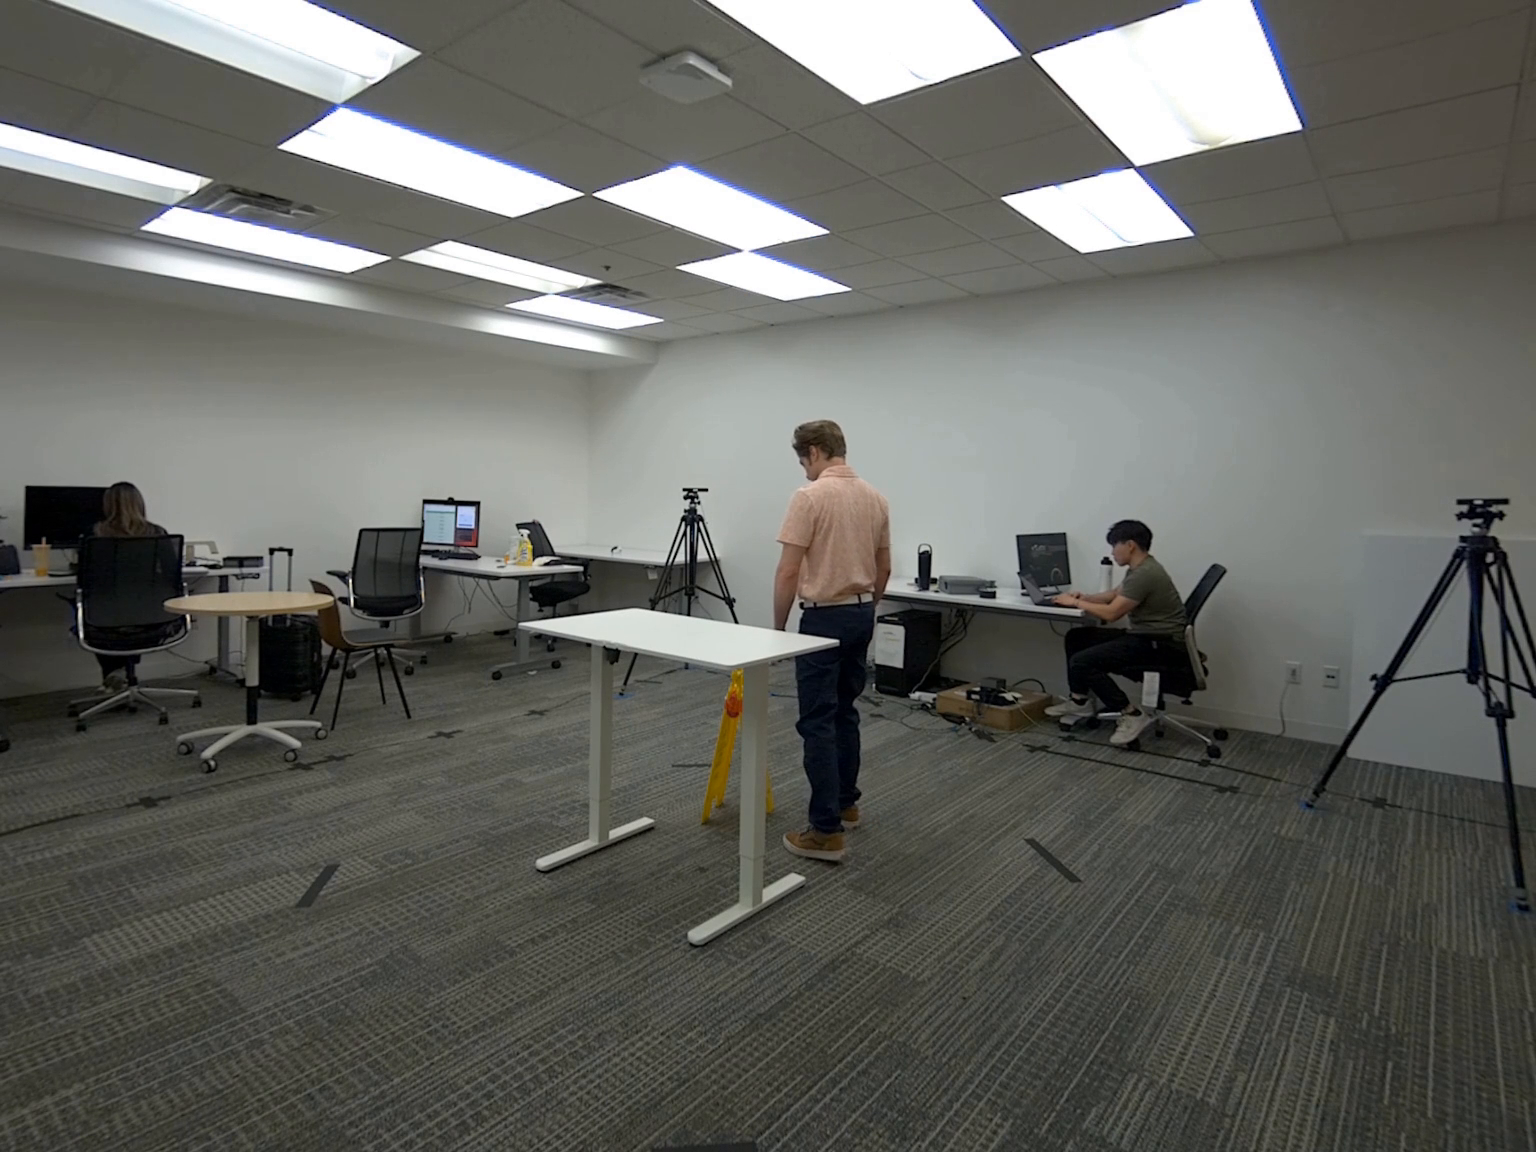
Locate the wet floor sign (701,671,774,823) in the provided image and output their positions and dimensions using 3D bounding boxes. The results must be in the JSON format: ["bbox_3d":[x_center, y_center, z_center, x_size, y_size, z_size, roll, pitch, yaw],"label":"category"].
[{"bbox_3d":[-0.127,0.700,3.615,0.294,0.644,0.279,1,4,13],"label":"wet floor sign"}]
